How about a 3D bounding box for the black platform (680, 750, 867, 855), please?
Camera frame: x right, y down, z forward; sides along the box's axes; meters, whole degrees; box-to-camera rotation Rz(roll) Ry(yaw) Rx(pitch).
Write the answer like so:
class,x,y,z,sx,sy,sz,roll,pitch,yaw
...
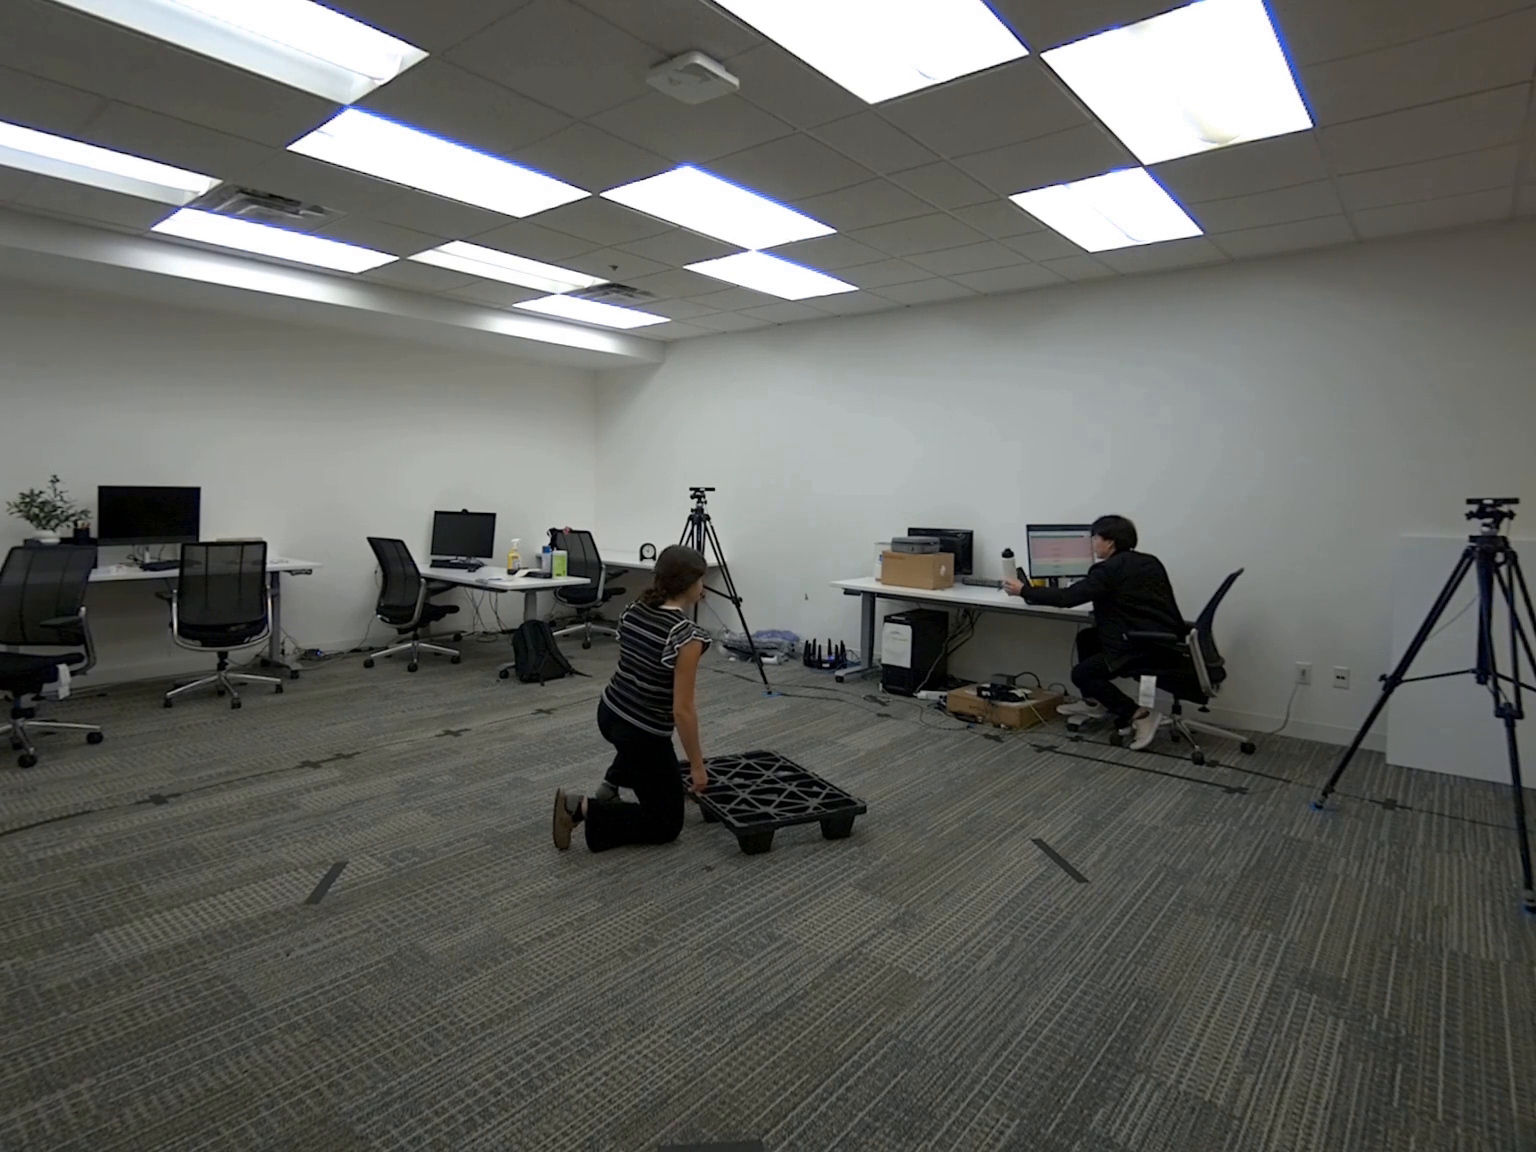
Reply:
class,x,y,z,sx,sy,sz,roll,pitch,yaw
black platform,-0.059,0.950,3.654,0.590,0.143,0.829,-1,6,-27
